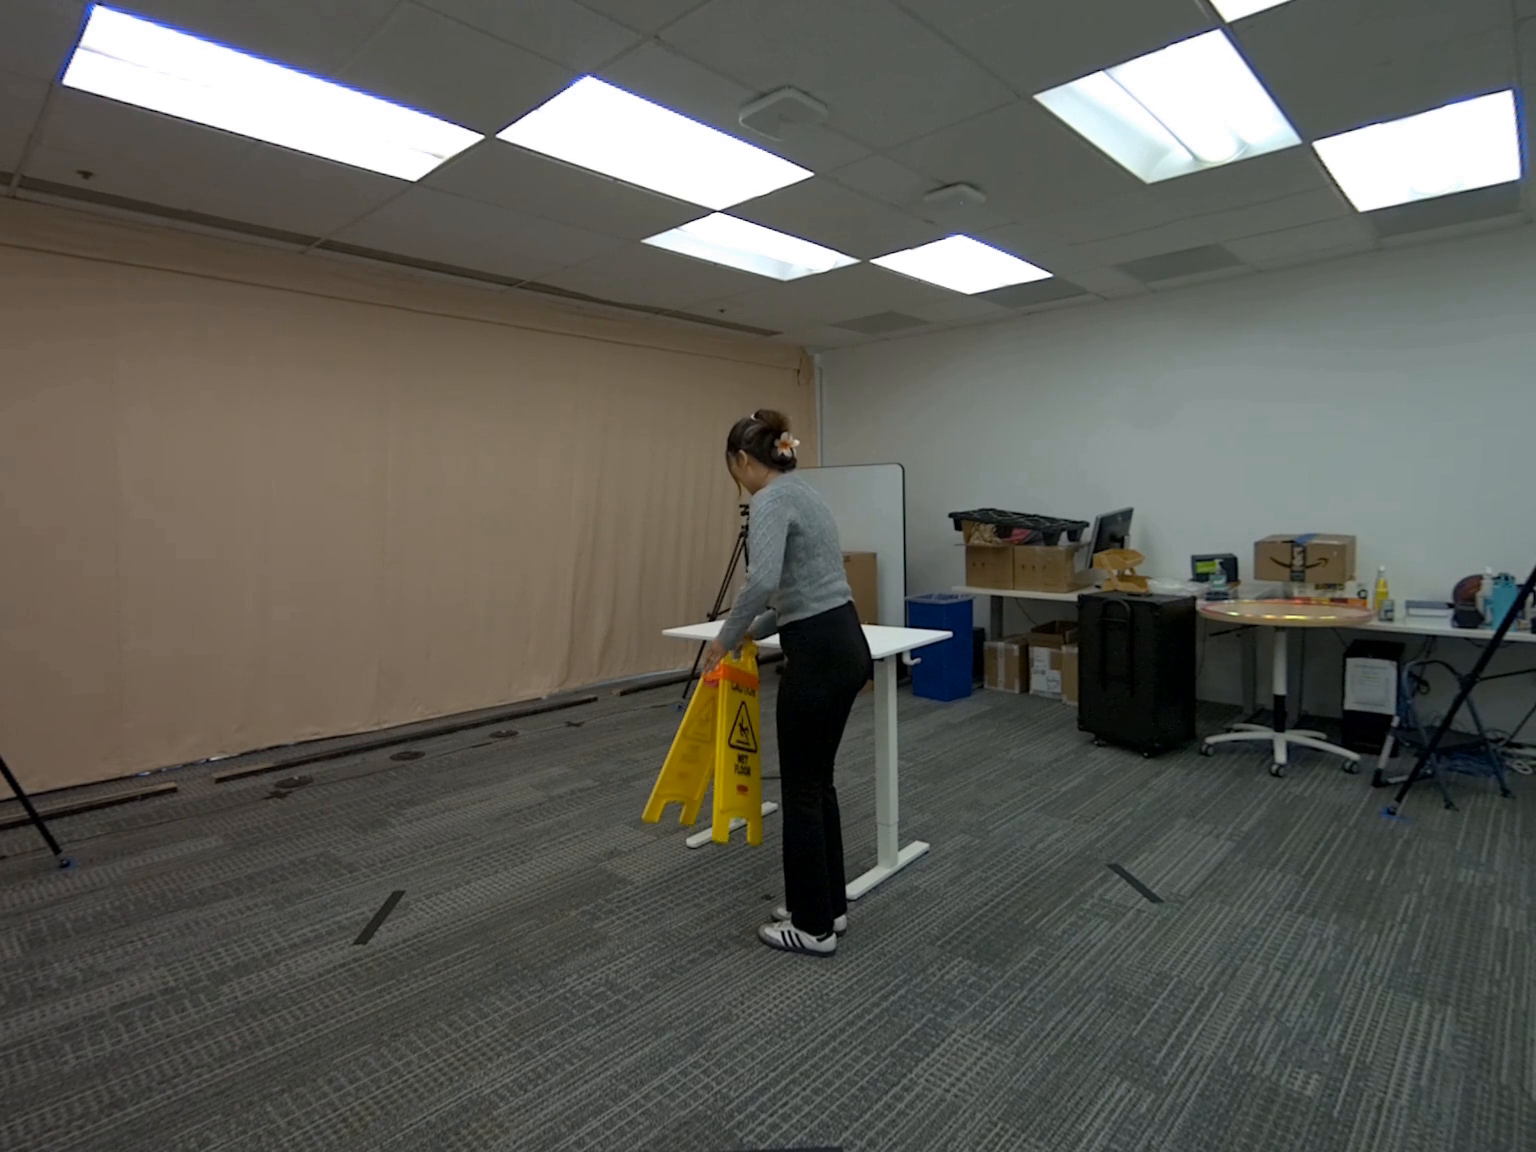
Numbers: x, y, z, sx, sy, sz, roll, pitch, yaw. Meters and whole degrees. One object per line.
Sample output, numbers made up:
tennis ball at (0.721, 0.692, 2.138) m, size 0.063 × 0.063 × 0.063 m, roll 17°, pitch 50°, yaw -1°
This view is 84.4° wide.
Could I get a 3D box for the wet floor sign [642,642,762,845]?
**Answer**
wet floor sign at (-0.144, 0.508, 2.775) m, size 0.299 × 0.649 × 0.272 m, roll 2°, pitch -16°, yaw 35°
